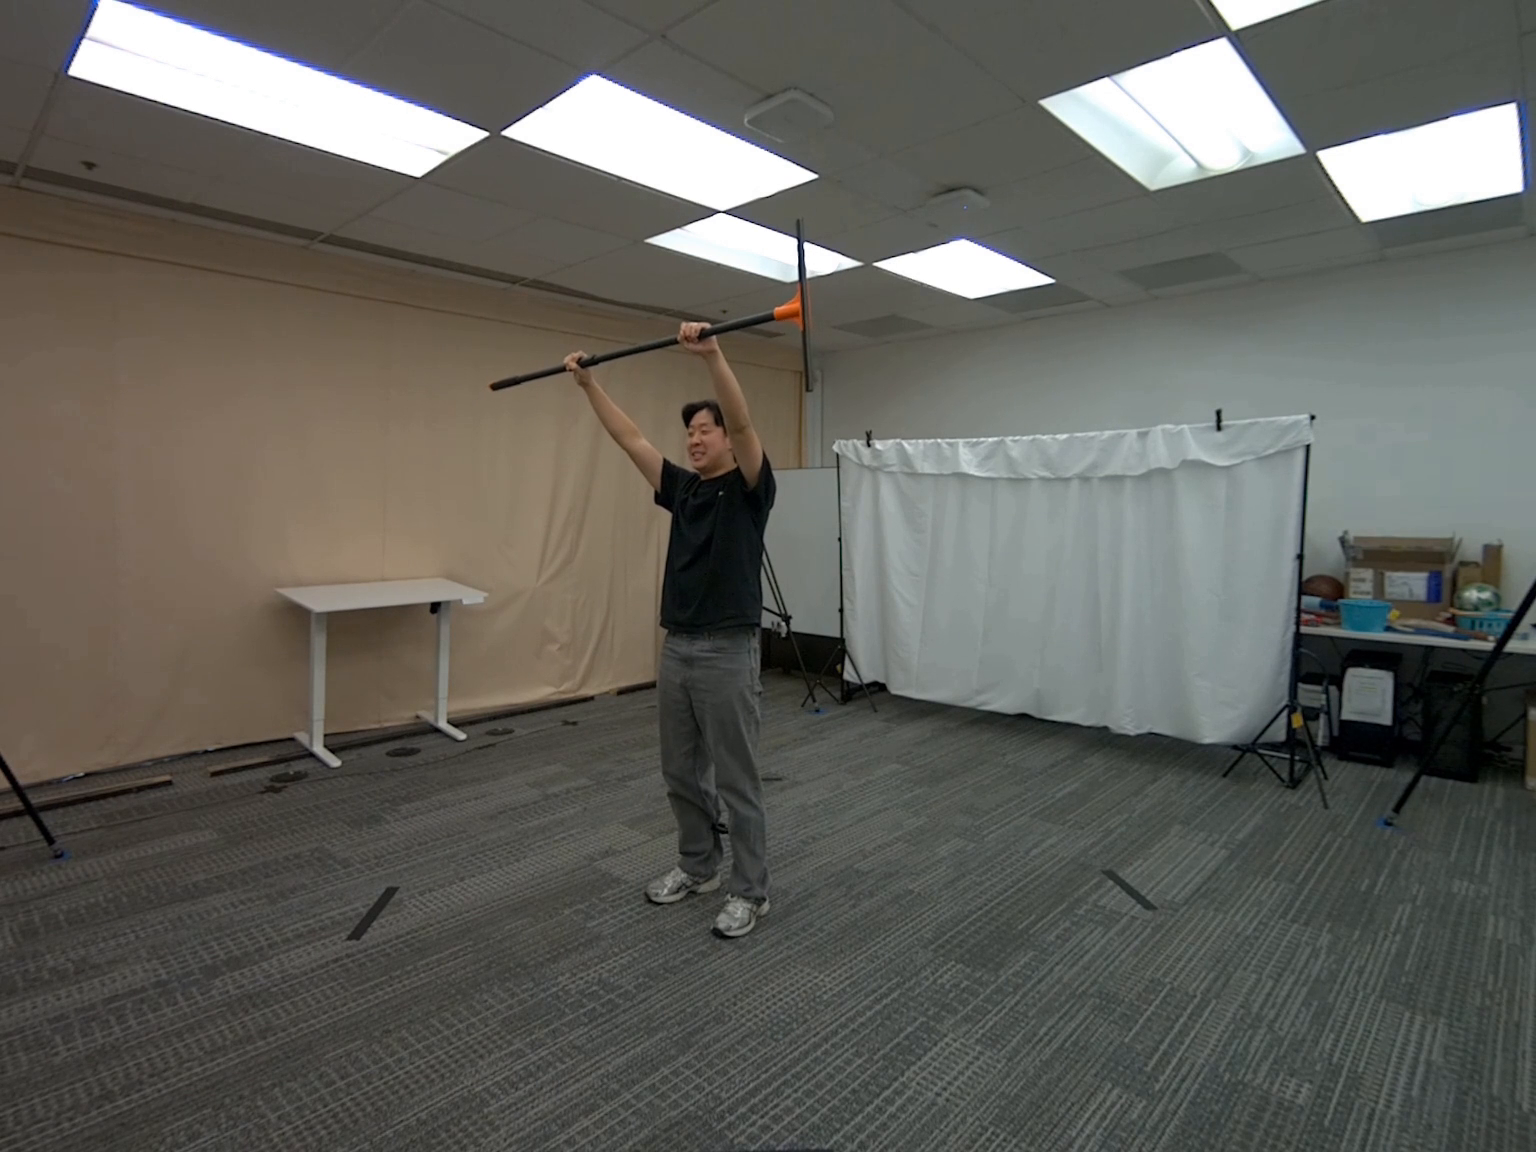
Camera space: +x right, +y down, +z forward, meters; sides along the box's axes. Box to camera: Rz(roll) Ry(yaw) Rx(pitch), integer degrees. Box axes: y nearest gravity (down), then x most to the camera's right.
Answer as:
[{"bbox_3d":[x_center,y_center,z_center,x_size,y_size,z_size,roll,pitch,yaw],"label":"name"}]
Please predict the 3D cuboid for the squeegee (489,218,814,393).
[{"bbox_3d":[-0.470,-0.699,2.663,1.588,0.436,0.051,1,6,43],"label":"squeegee"}]
